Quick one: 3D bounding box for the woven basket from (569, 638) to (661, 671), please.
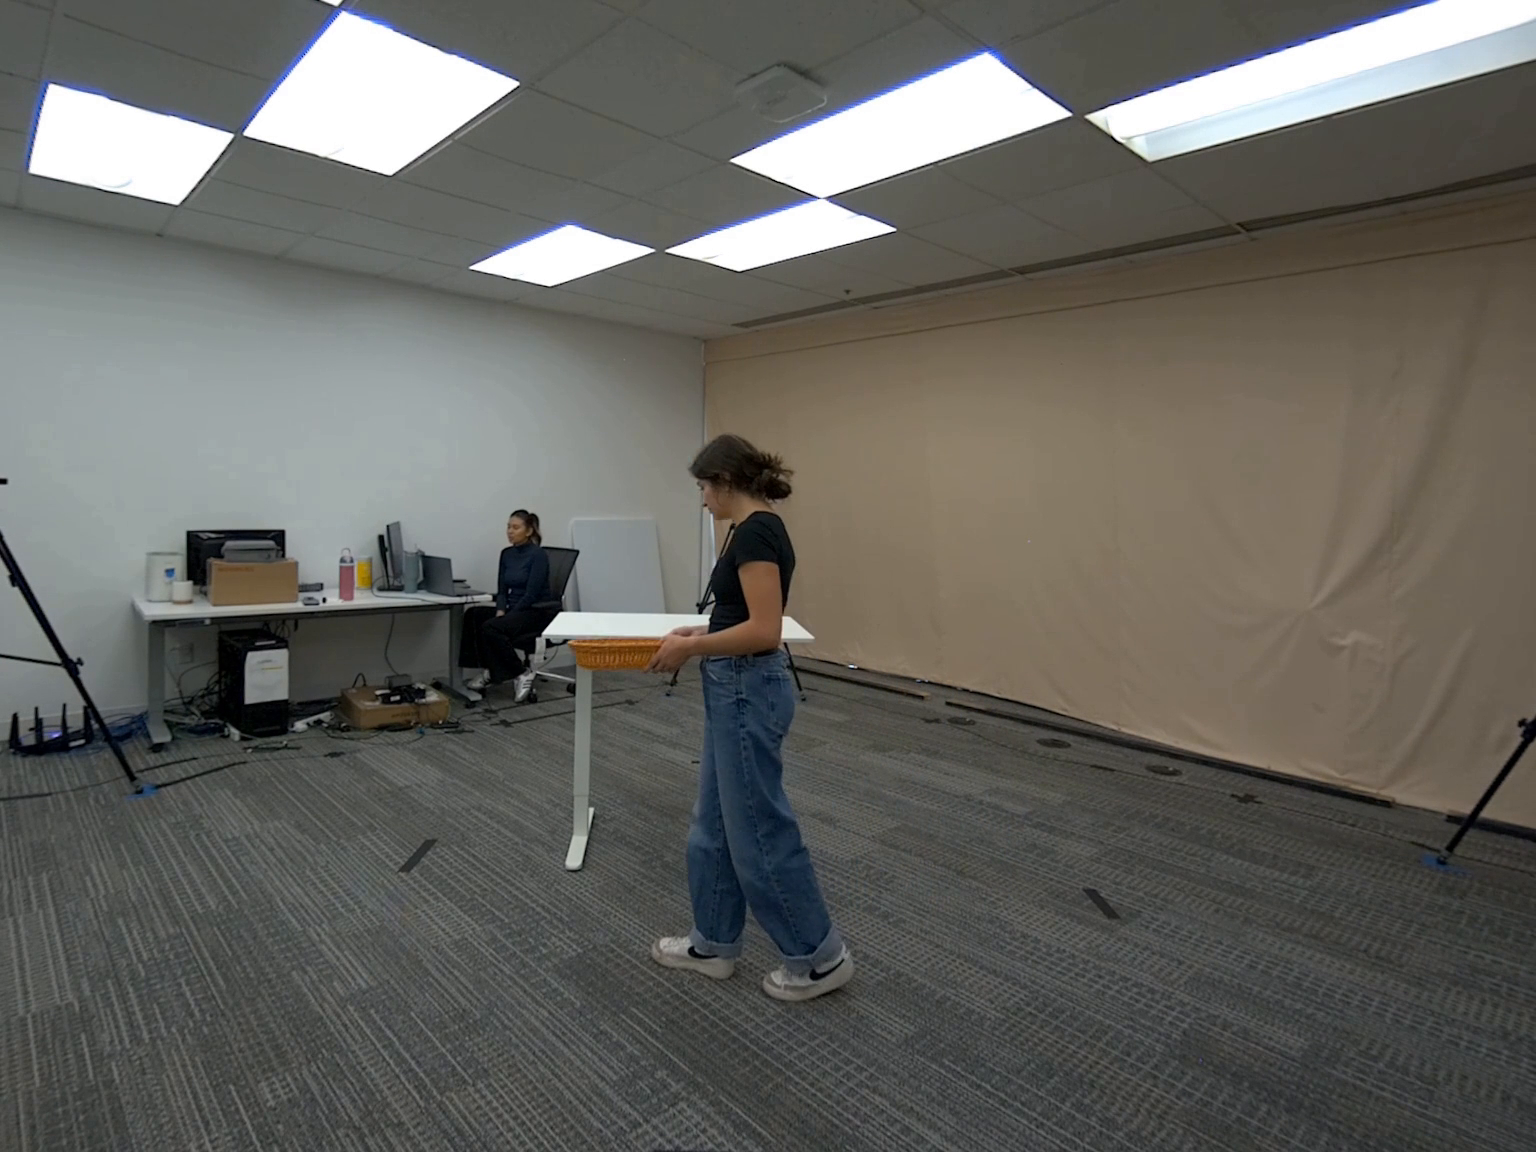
[{"bbox_3d":[-0.381,0.224,2.359,0.349,0.073,0.253,0,0,-5],"label":"woven basket"}]
